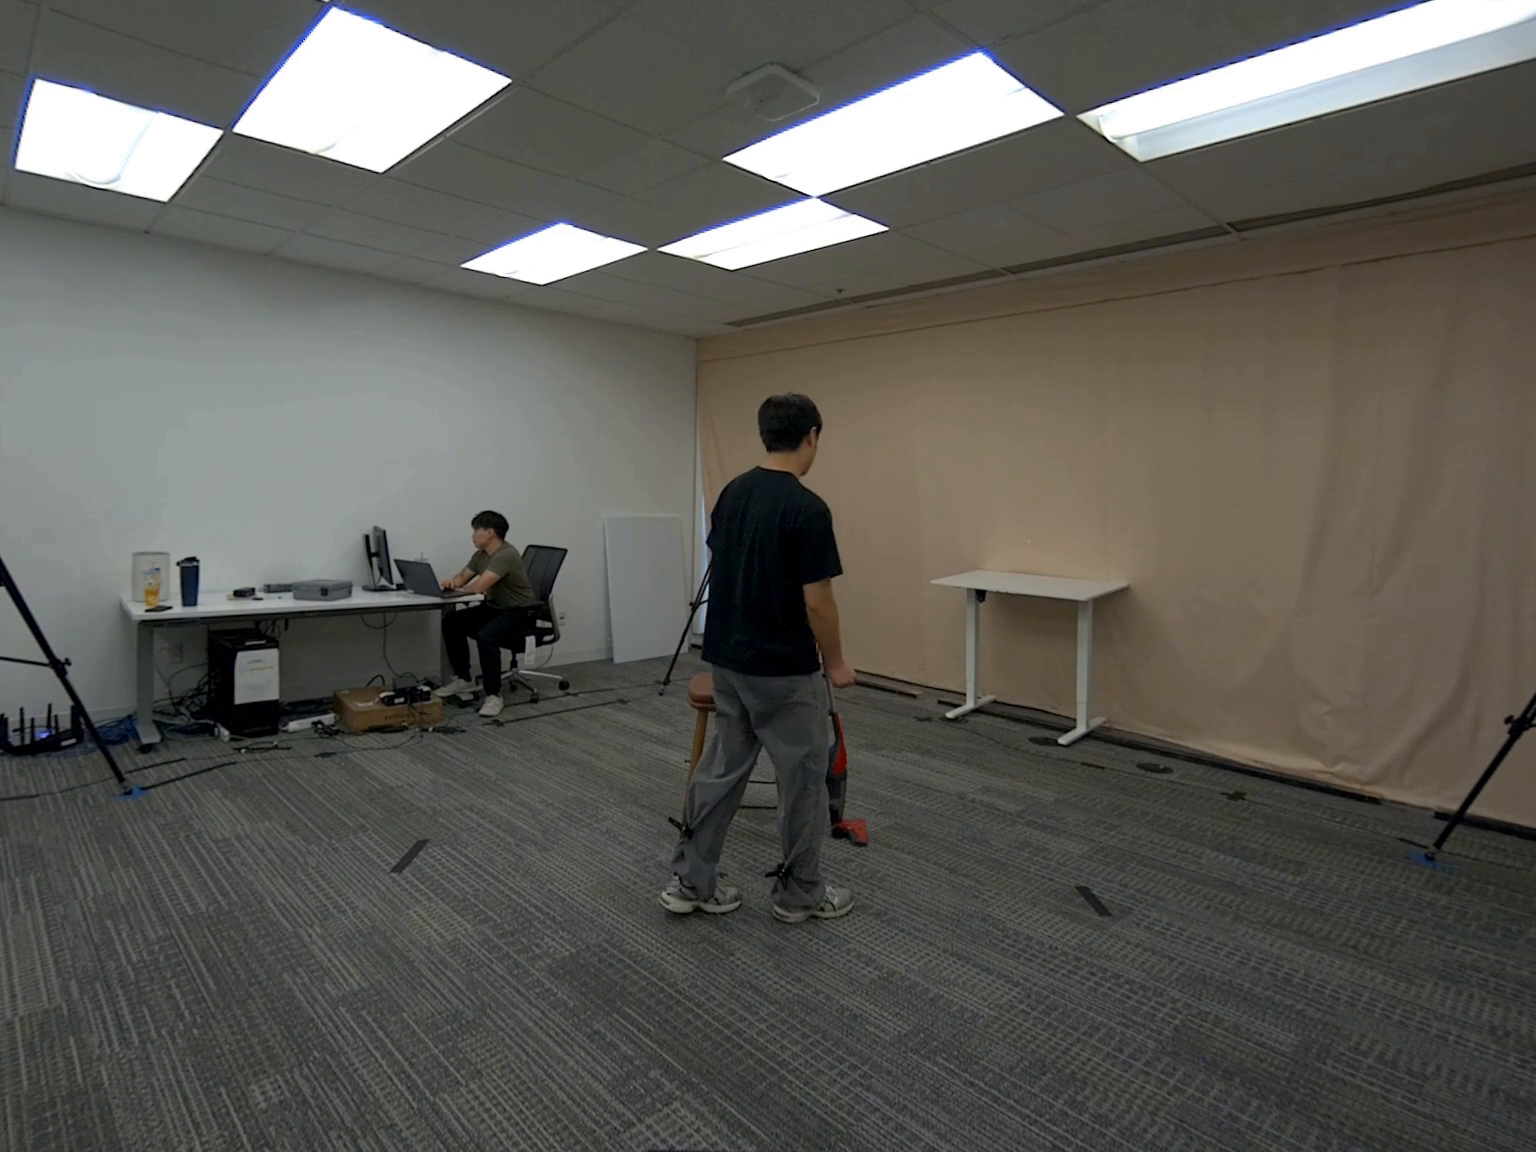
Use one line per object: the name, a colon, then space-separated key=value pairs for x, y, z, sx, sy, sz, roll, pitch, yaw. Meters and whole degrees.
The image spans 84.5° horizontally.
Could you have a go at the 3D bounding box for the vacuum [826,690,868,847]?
vacuum: x=0.238 y=0.569 z=3.515 sx=0.144 sy=1.049 sz=0.252 roll=-11 pitch=1 yaw=2
